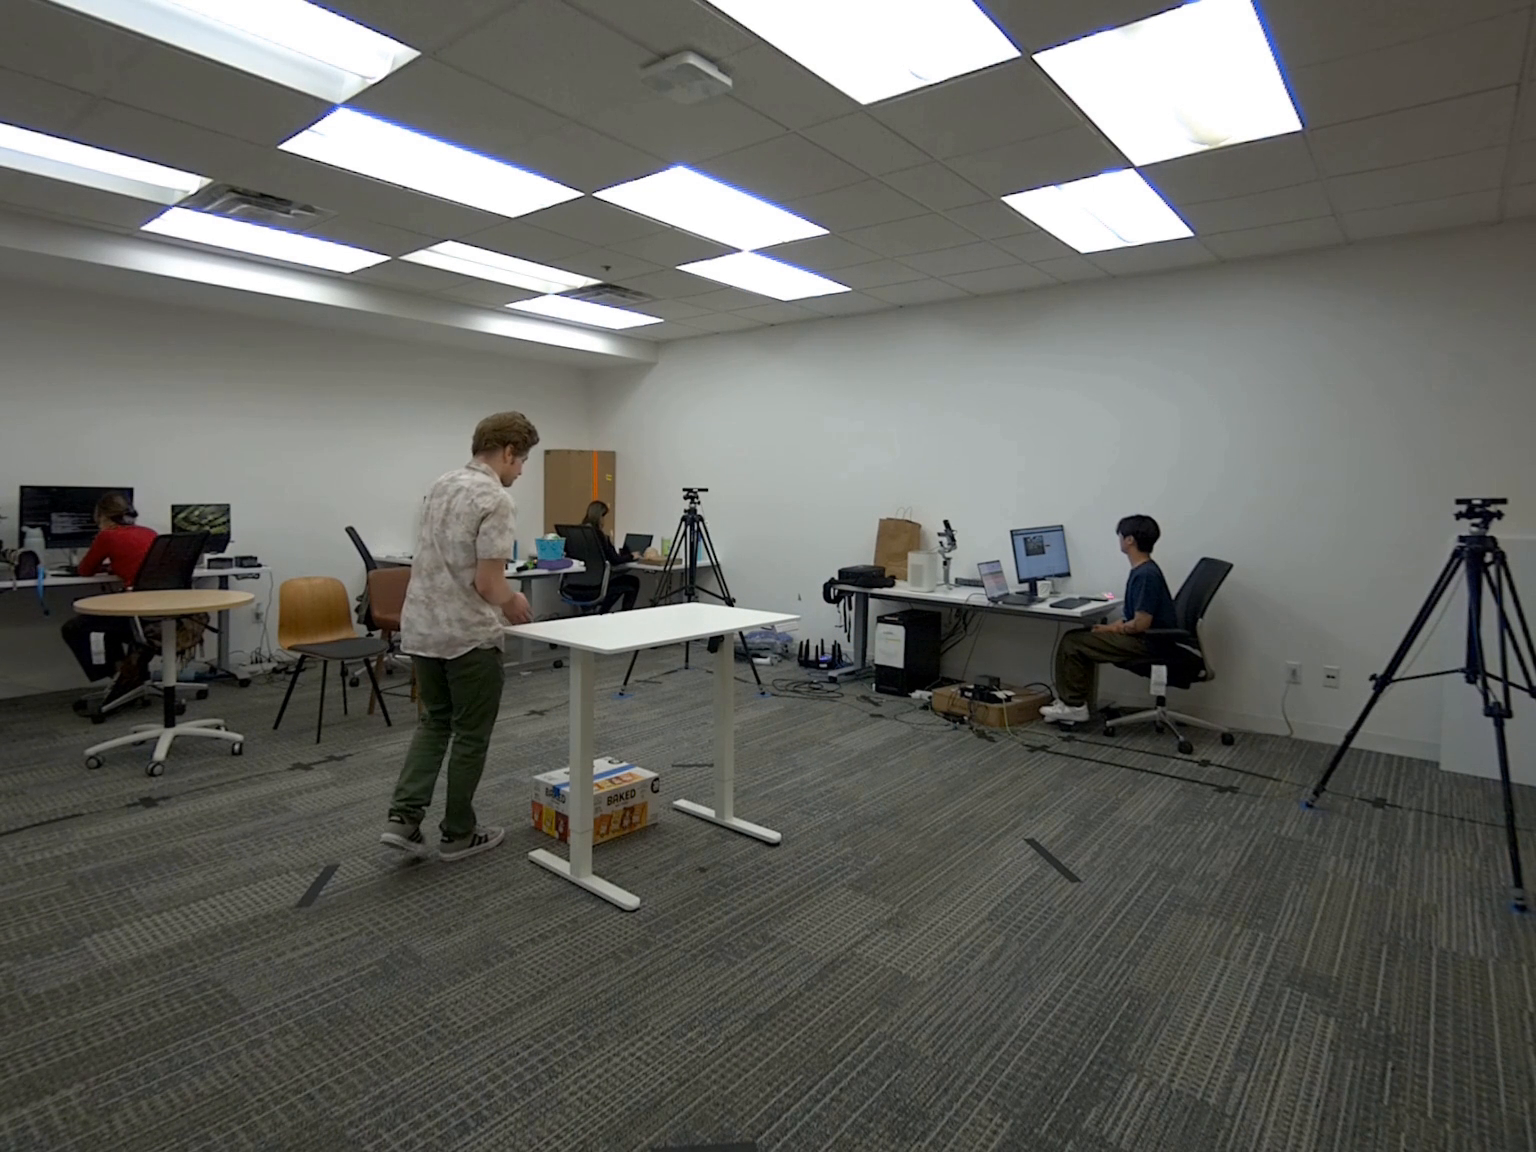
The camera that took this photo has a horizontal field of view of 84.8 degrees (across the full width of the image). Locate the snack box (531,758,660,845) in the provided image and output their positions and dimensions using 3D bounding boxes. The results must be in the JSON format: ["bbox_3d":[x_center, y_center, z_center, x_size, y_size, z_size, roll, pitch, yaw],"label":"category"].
[{"bbox_3d":[-0.721,0.923,3.505,0.352,0.205,0.393,5,7,42],"label":"snack box"}]
